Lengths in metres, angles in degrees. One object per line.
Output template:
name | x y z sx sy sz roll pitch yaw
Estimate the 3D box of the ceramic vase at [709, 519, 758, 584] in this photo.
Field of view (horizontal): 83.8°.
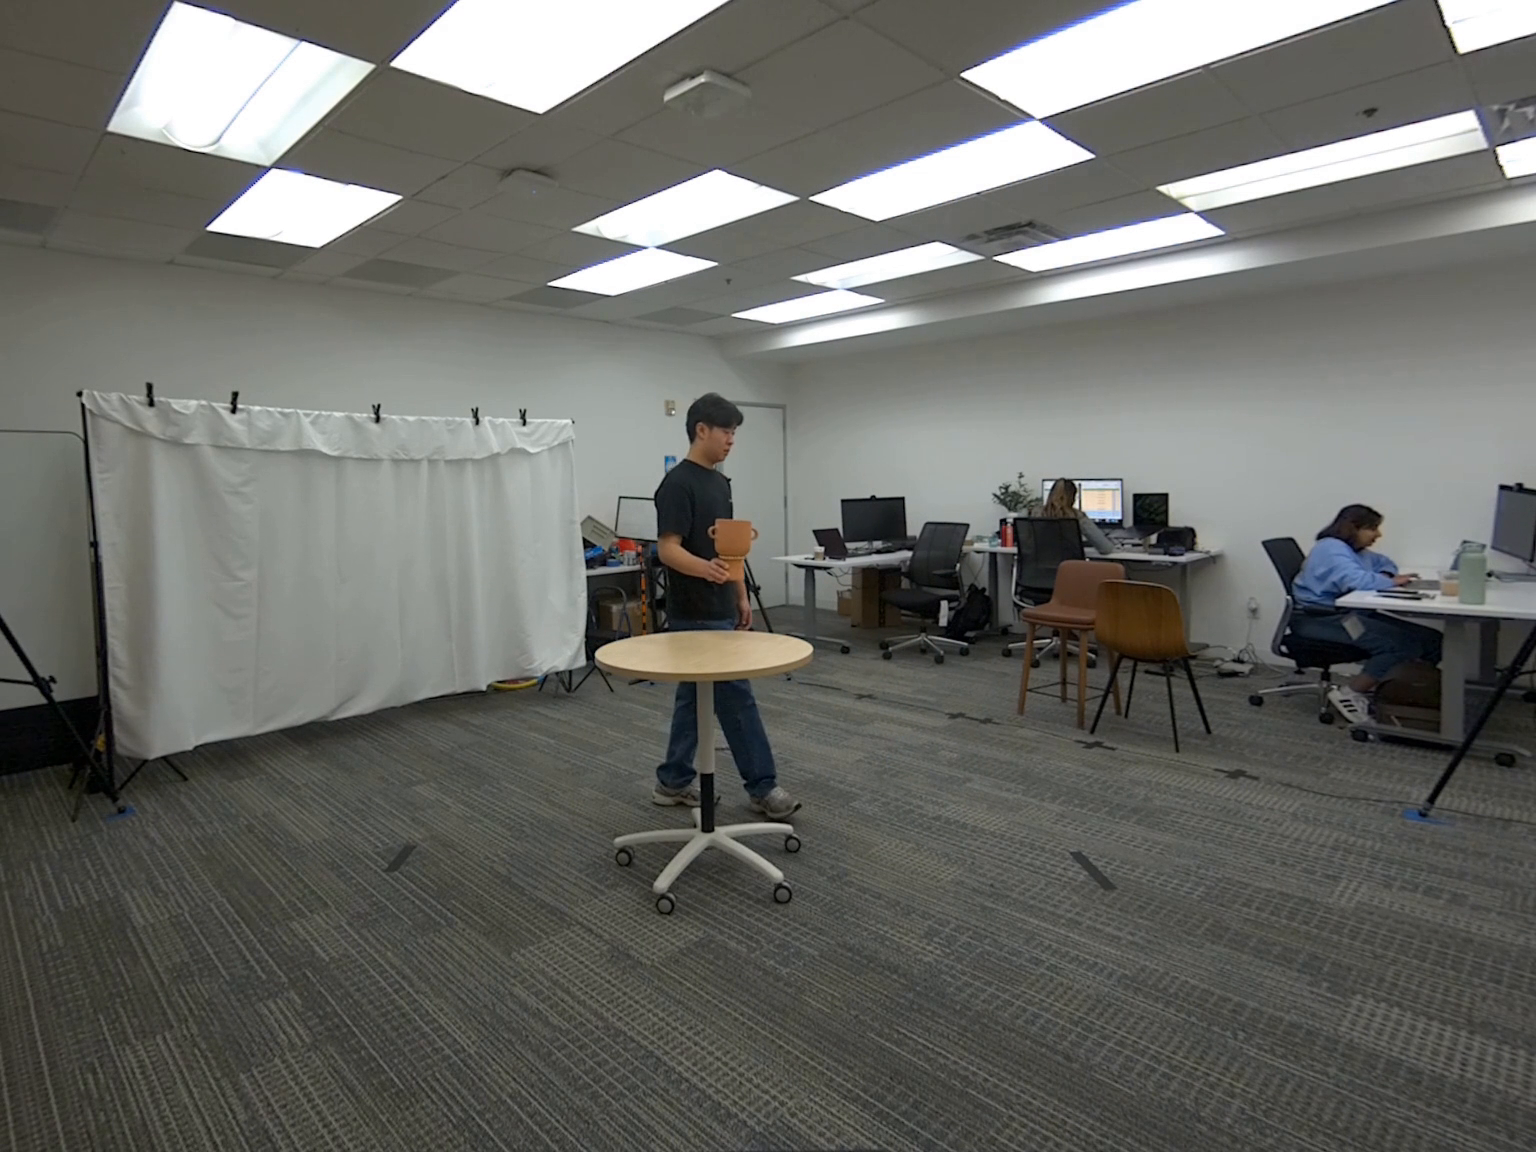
ceramic vase | -0.133 -0.096 3.156 0.161 0.219 0.133 3 3 16
